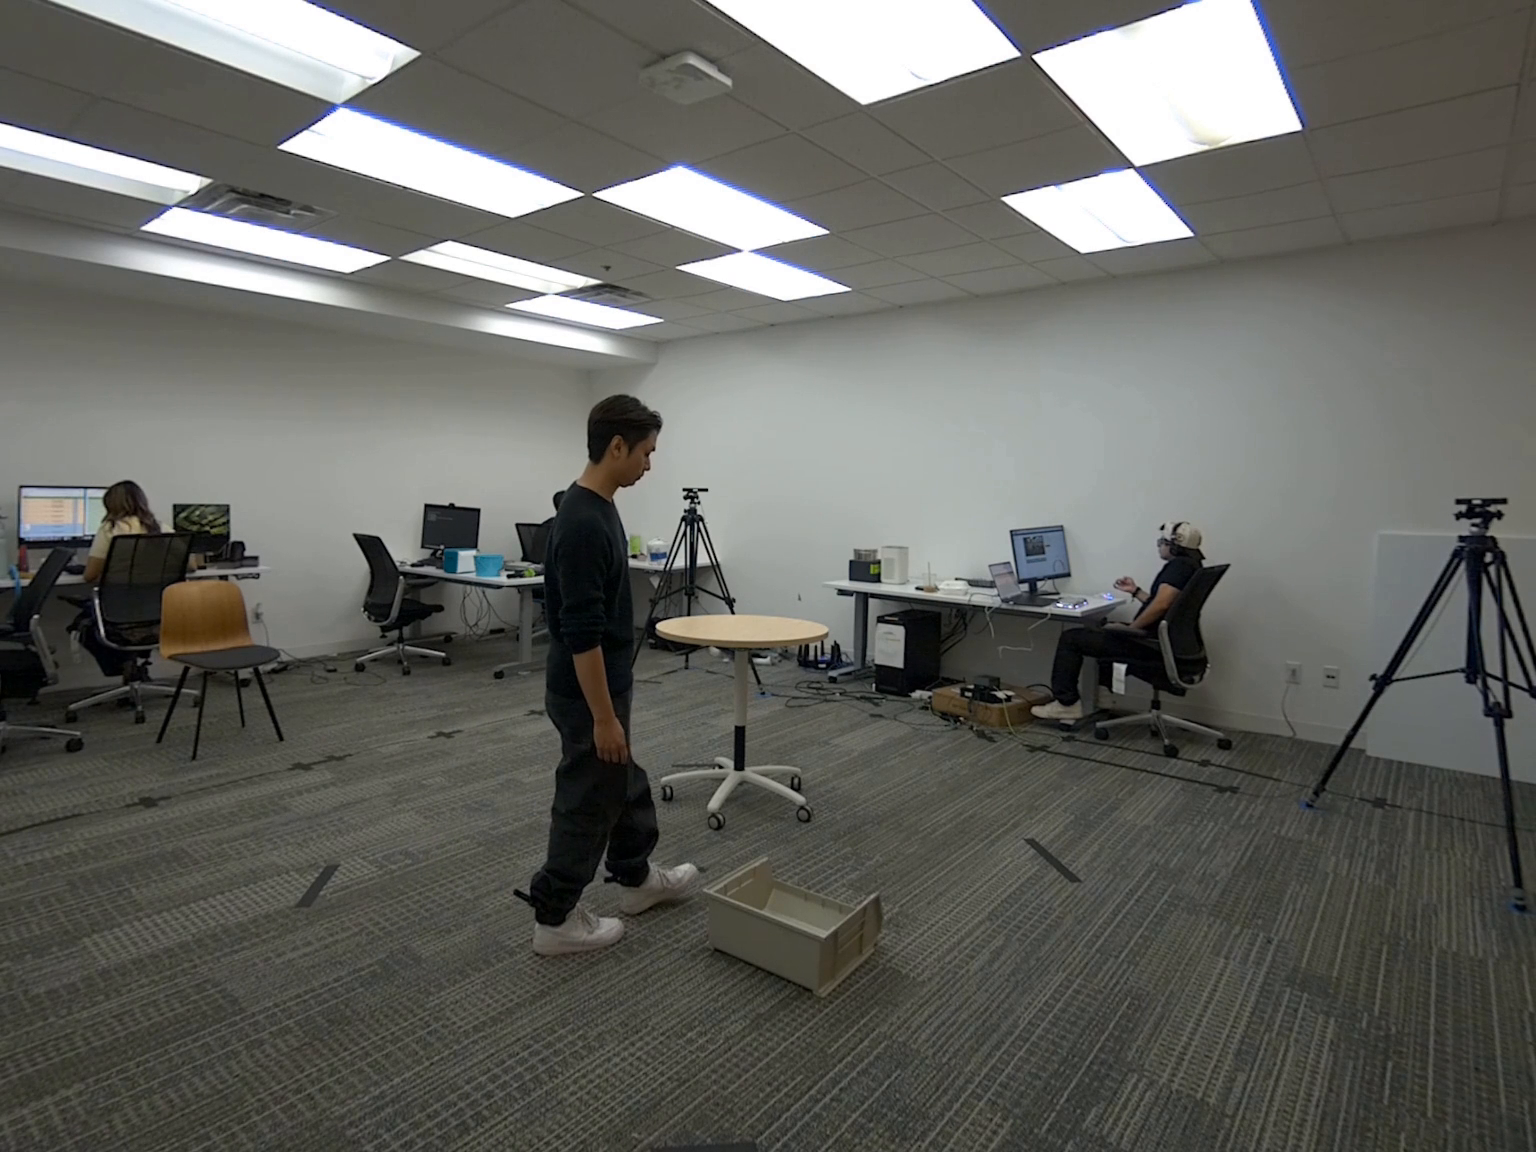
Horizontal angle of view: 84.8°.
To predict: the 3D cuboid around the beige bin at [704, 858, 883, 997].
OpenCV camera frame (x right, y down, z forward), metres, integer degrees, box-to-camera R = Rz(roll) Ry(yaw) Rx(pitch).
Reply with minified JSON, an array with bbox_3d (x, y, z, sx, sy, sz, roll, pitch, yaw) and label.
[{"bbox_3d":[0.070,1.039,2.582,0.436,0.188,0.367,5,6,35],"label":"beige bin"}]
